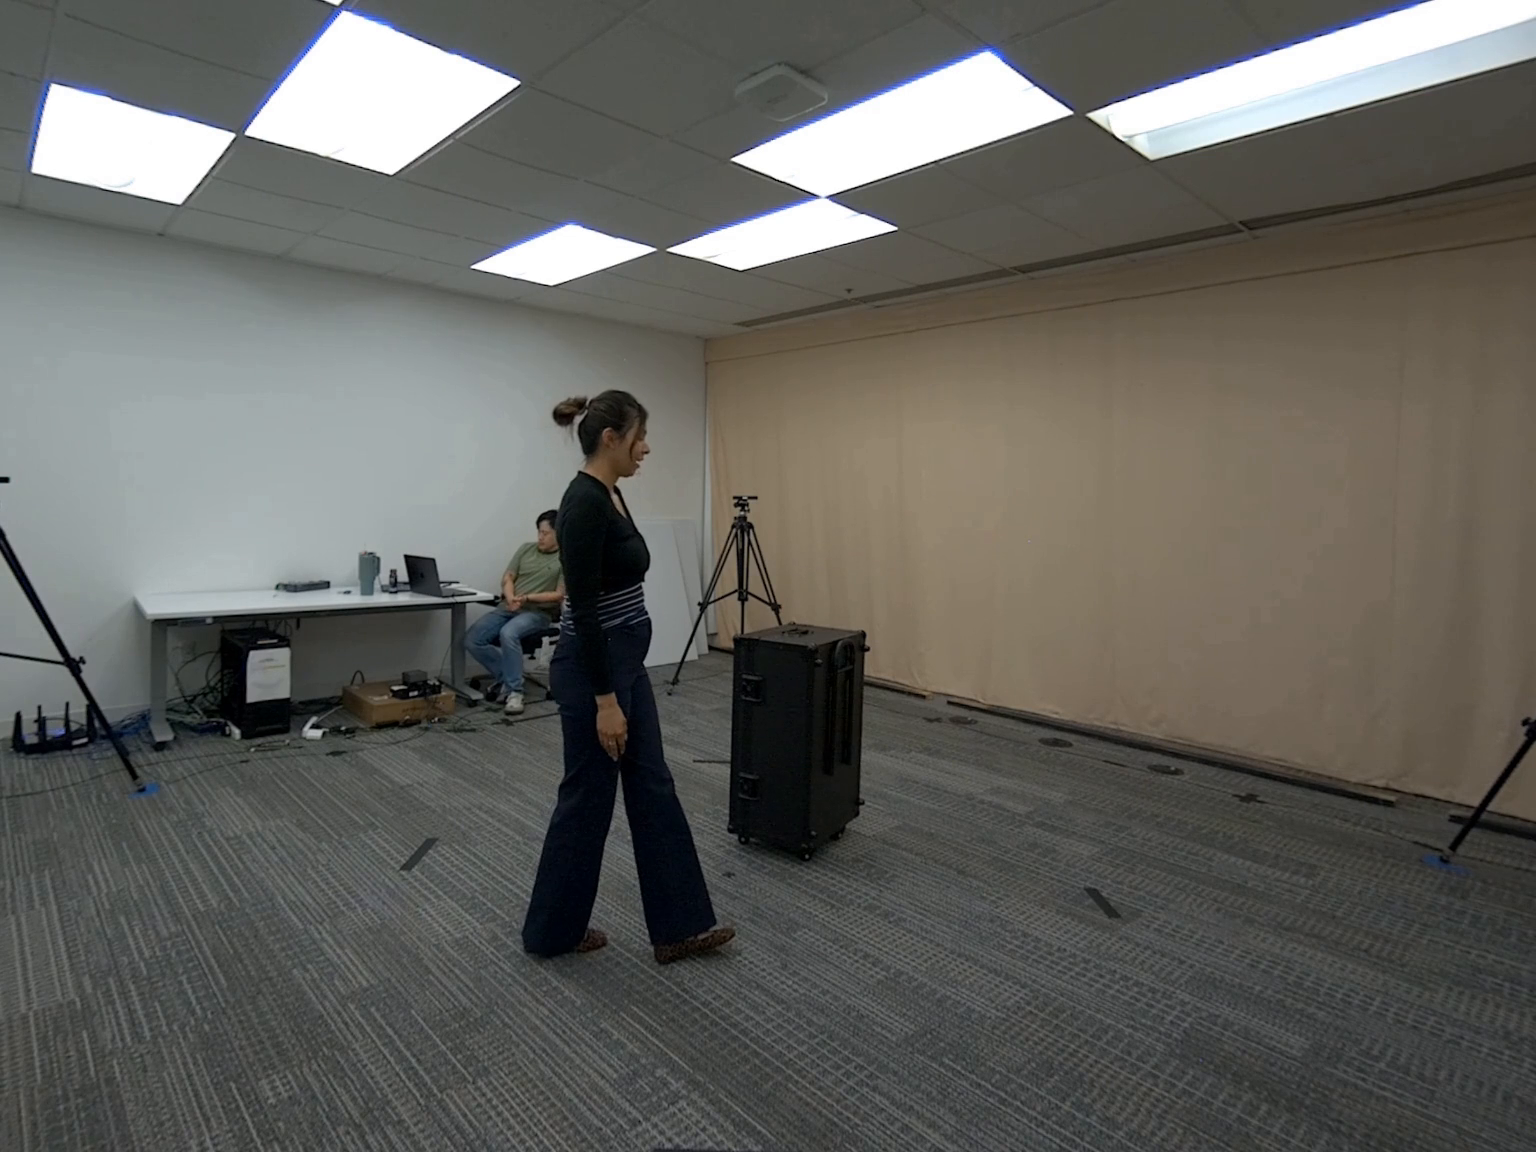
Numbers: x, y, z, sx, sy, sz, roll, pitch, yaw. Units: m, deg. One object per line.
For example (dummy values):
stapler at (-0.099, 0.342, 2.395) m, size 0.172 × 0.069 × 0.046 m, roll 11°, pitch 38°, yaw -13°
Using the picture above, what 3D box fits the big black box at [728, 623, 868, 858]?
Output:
big black box at (0.128, 0.657, 3.416) m, size 0.405 × 0.859 × 0.511 m, roll 5°, pitch 5°, yaw 31°
